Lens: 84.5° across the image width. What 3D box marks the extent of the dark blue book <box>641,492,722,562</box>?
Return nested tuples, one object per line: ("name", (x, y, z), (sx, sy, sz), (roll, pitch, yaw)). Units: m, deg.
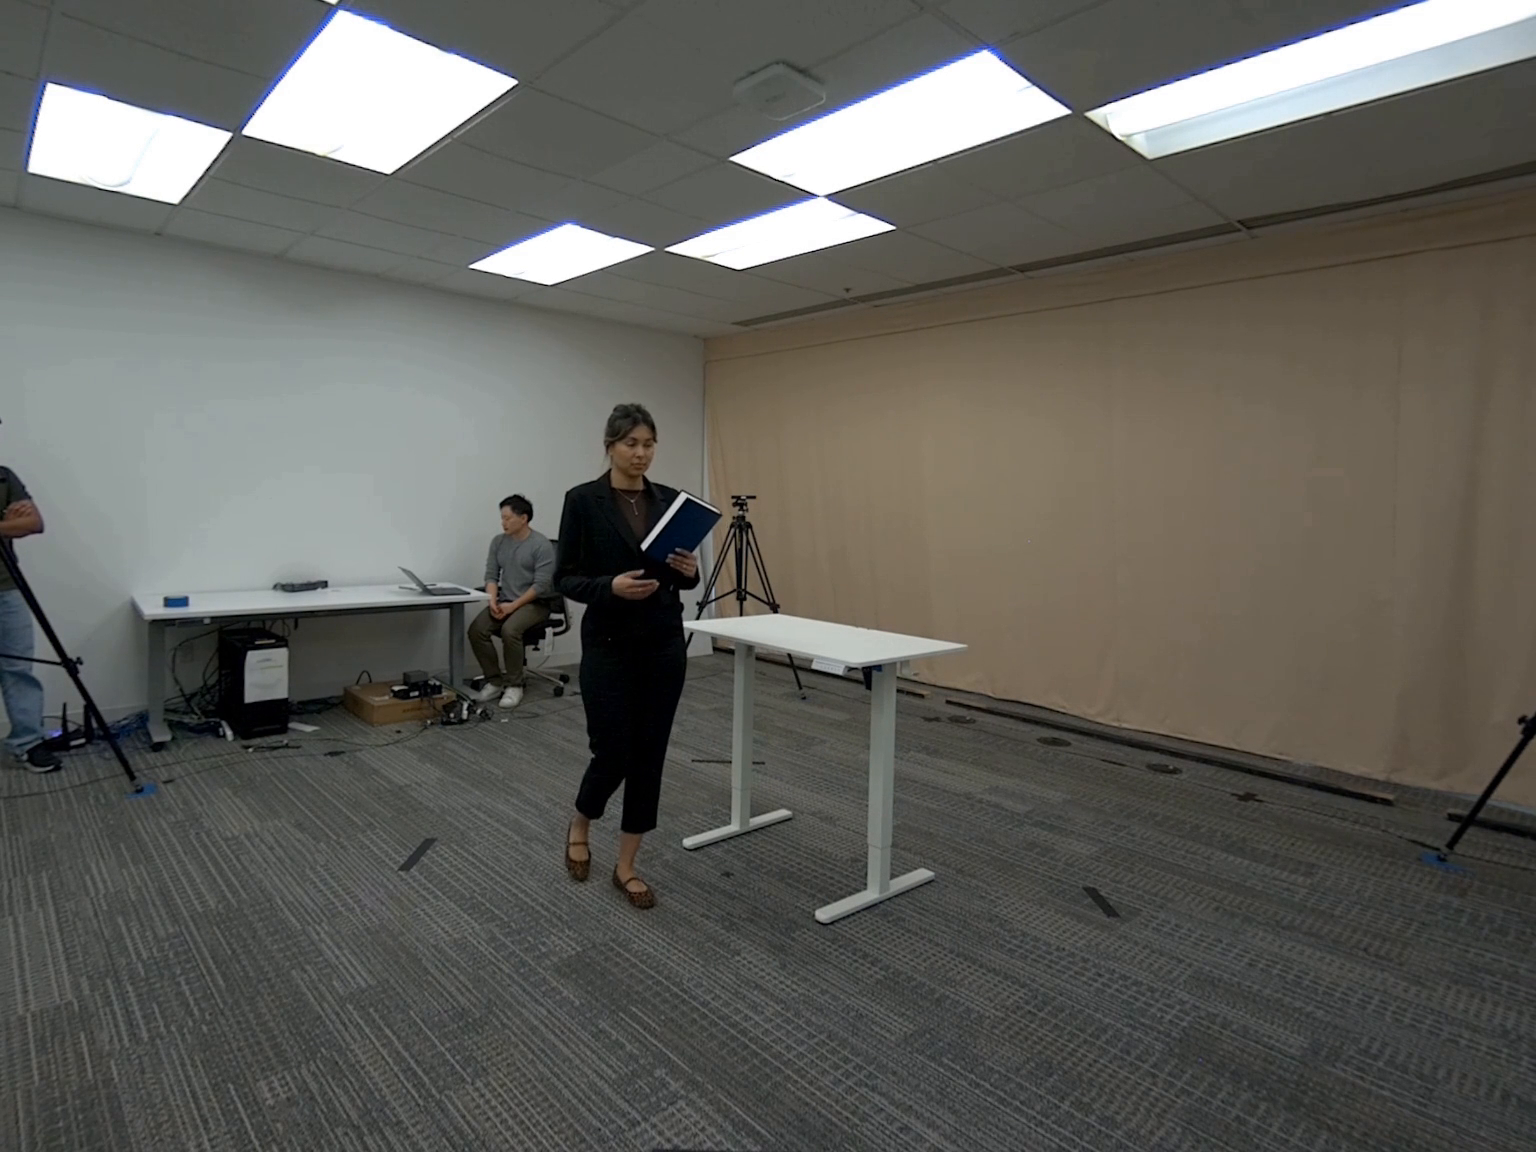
("dark blue book", (-0.293, -0.147, 2.752), (0.158, 0.245, 0.046), (27, 21, -38))
